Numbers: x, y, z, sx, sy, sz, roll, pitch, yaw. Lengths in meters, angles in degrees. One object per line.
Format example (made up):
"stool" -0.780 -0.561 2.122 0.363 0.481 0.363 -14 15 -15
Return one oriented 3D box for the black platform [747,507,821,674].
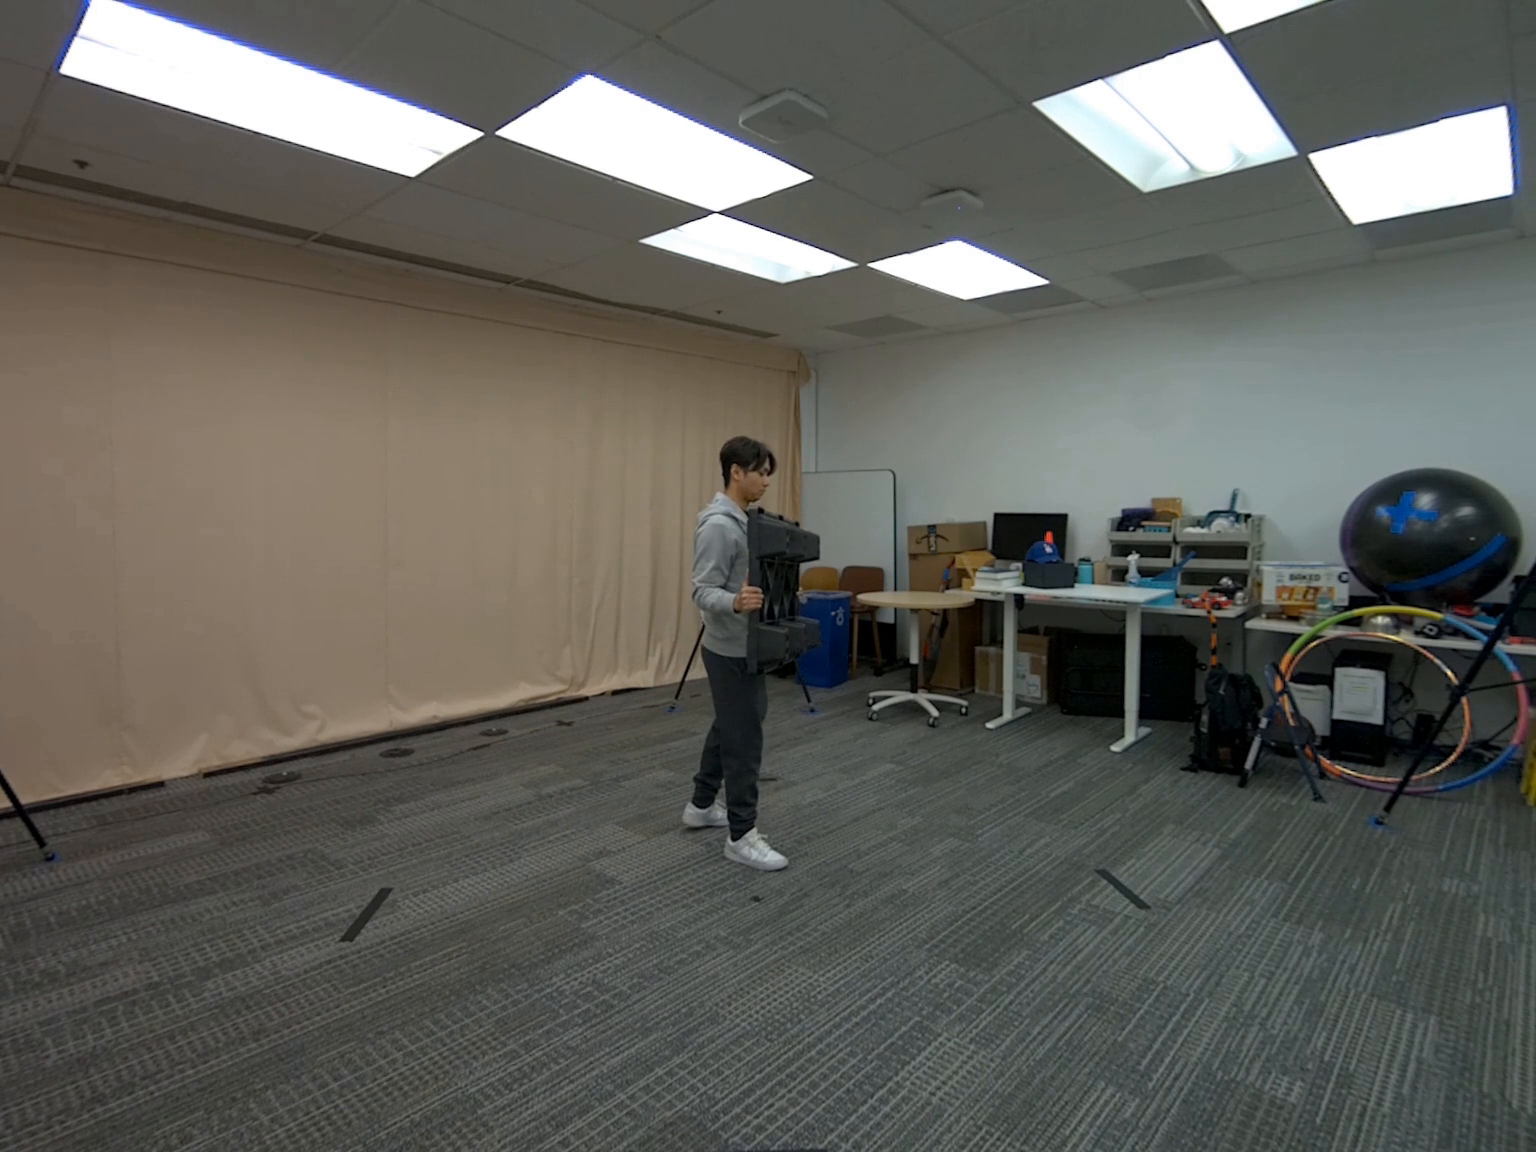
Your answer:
"black platform" 0.077 0.063 3.305 0.145 0.606 0.792 -2 -2 12
